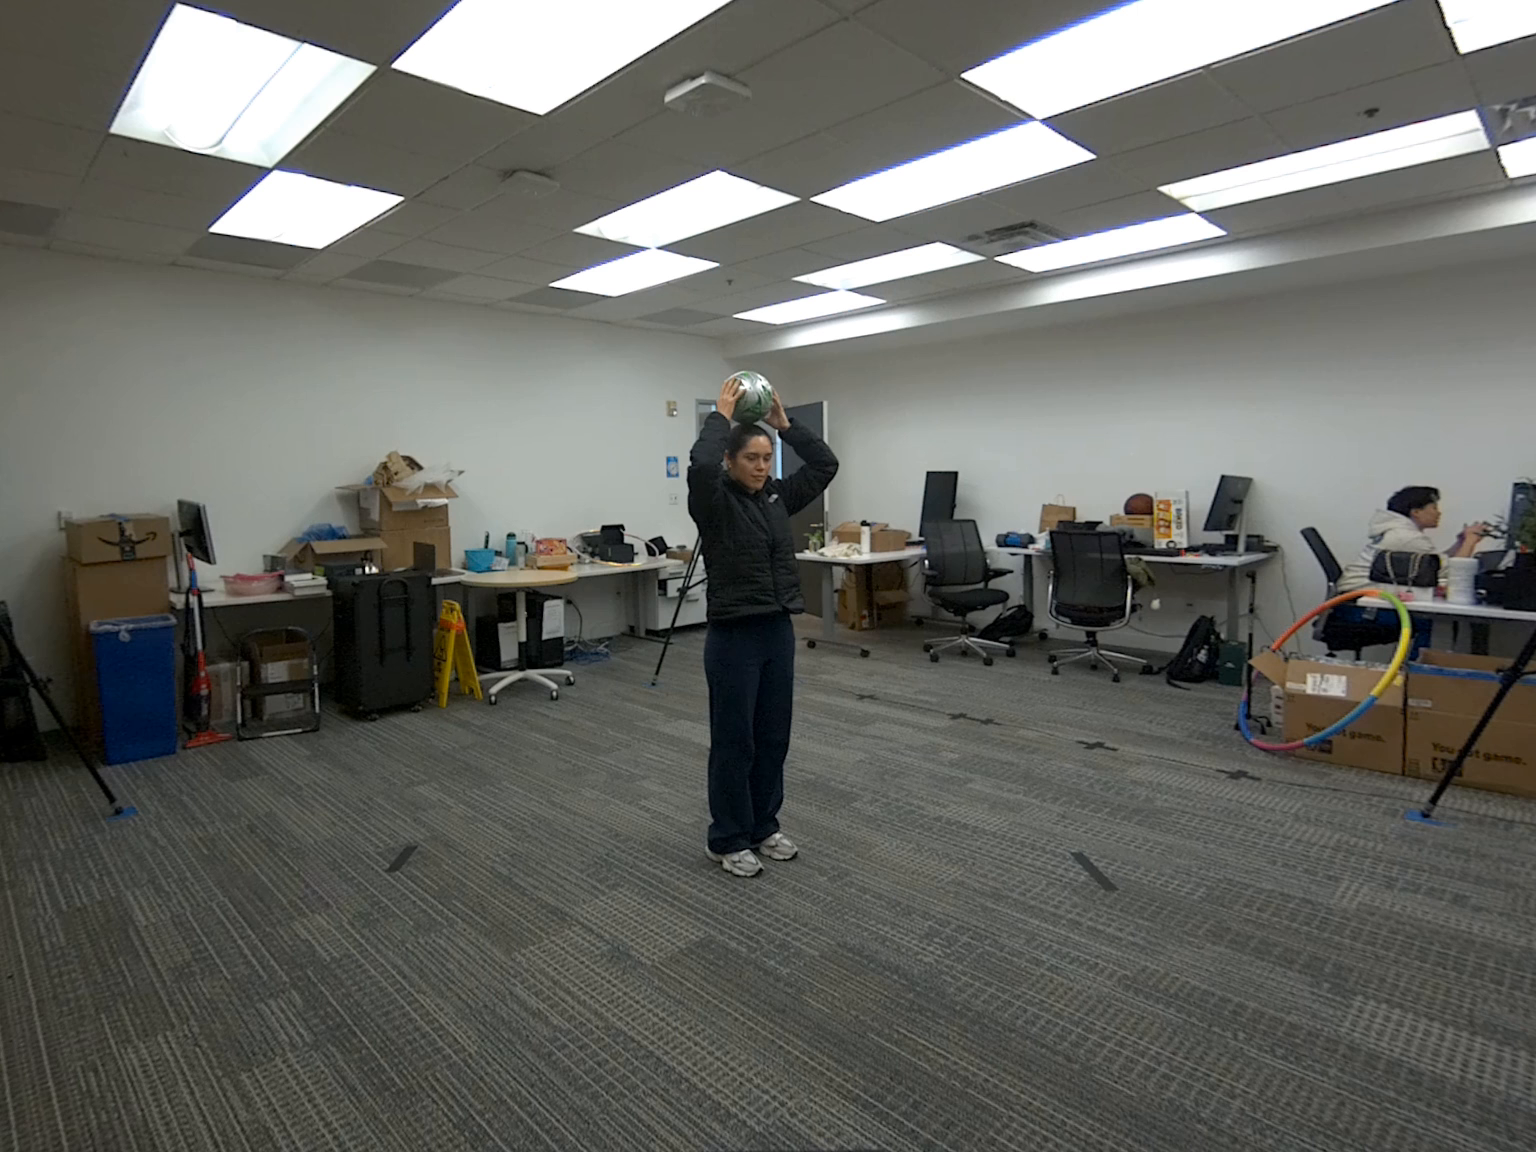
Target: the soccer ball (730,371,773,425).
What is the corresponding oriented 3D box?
[{"bbox_3d":[-0.081,-0.636,3.048,0.187,0.187,0.188,-1,5,-2],"label":"soccer ball"}]
